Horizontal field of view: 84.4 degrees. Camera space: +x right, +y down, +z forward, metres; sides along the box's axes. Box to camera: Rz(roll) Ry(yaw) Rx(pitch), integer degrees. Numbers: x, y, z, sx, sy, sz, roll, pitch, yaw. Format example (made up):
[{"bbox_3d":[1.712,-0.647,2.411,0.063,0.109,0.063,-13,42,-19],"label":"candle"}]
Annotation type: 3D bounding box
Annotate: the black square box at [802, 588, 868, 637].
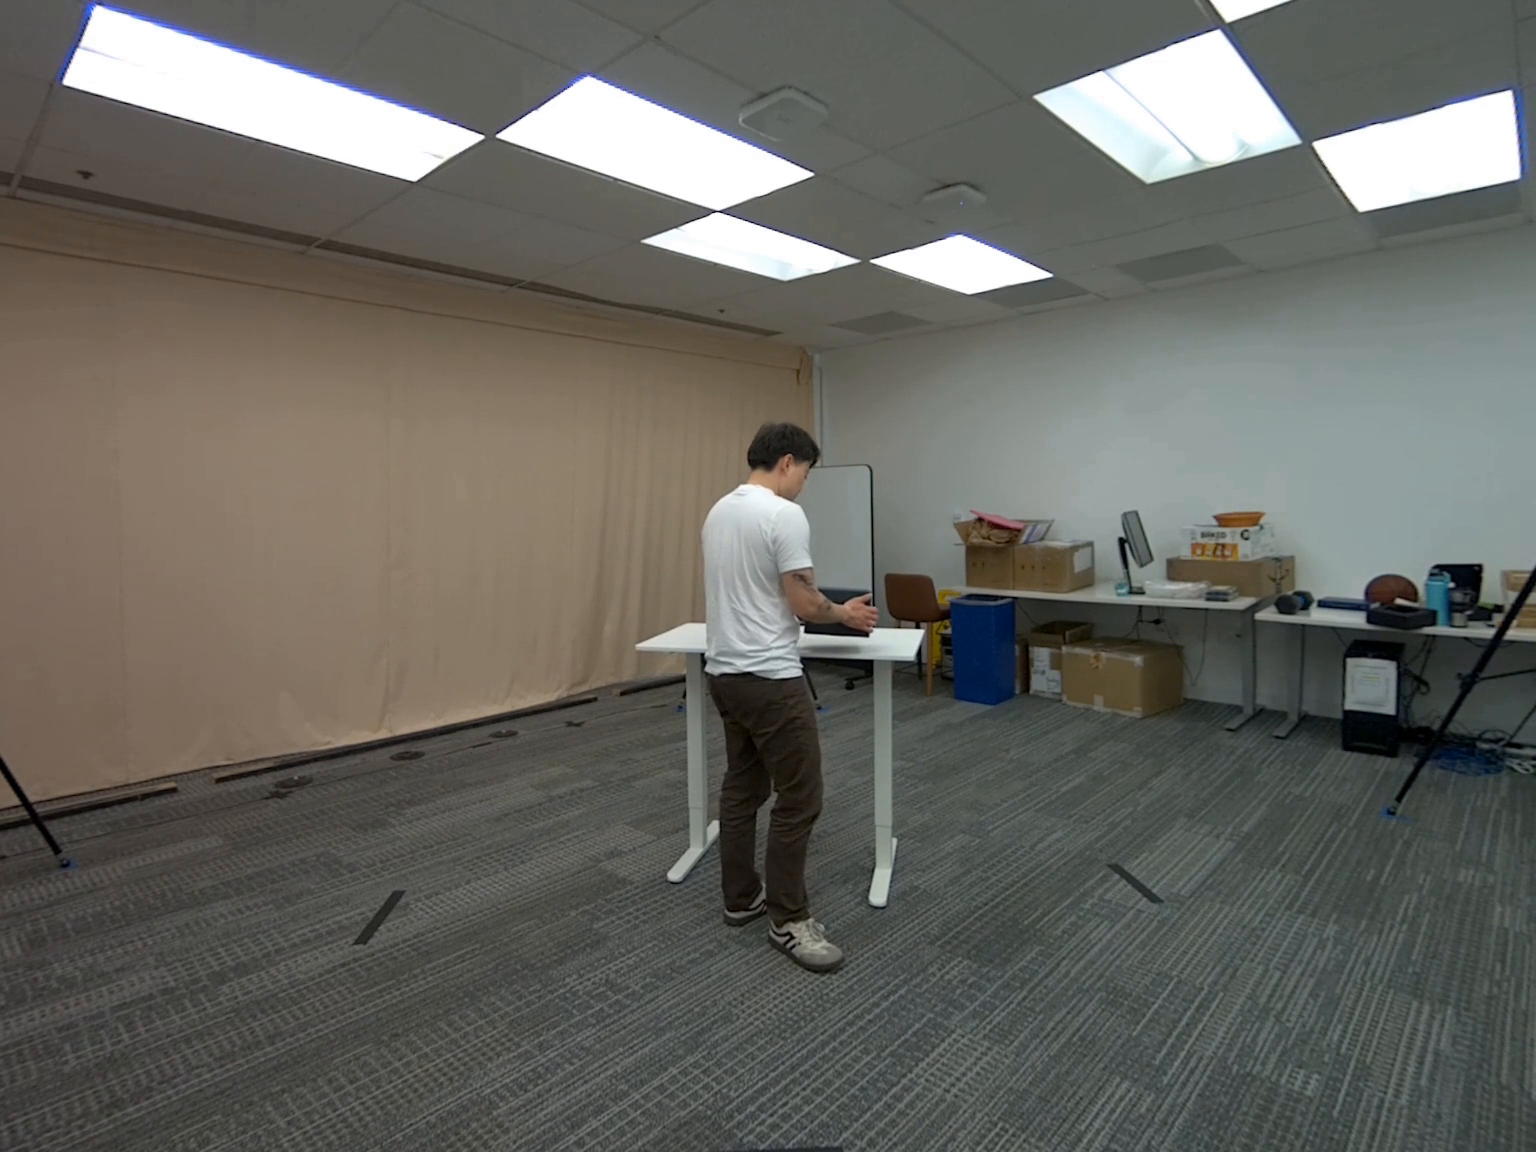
[{"bbox_3d":[0.251,0.121,2.919,0.219,0.156,0.226,3,1,6],"label":"black square box"}]
